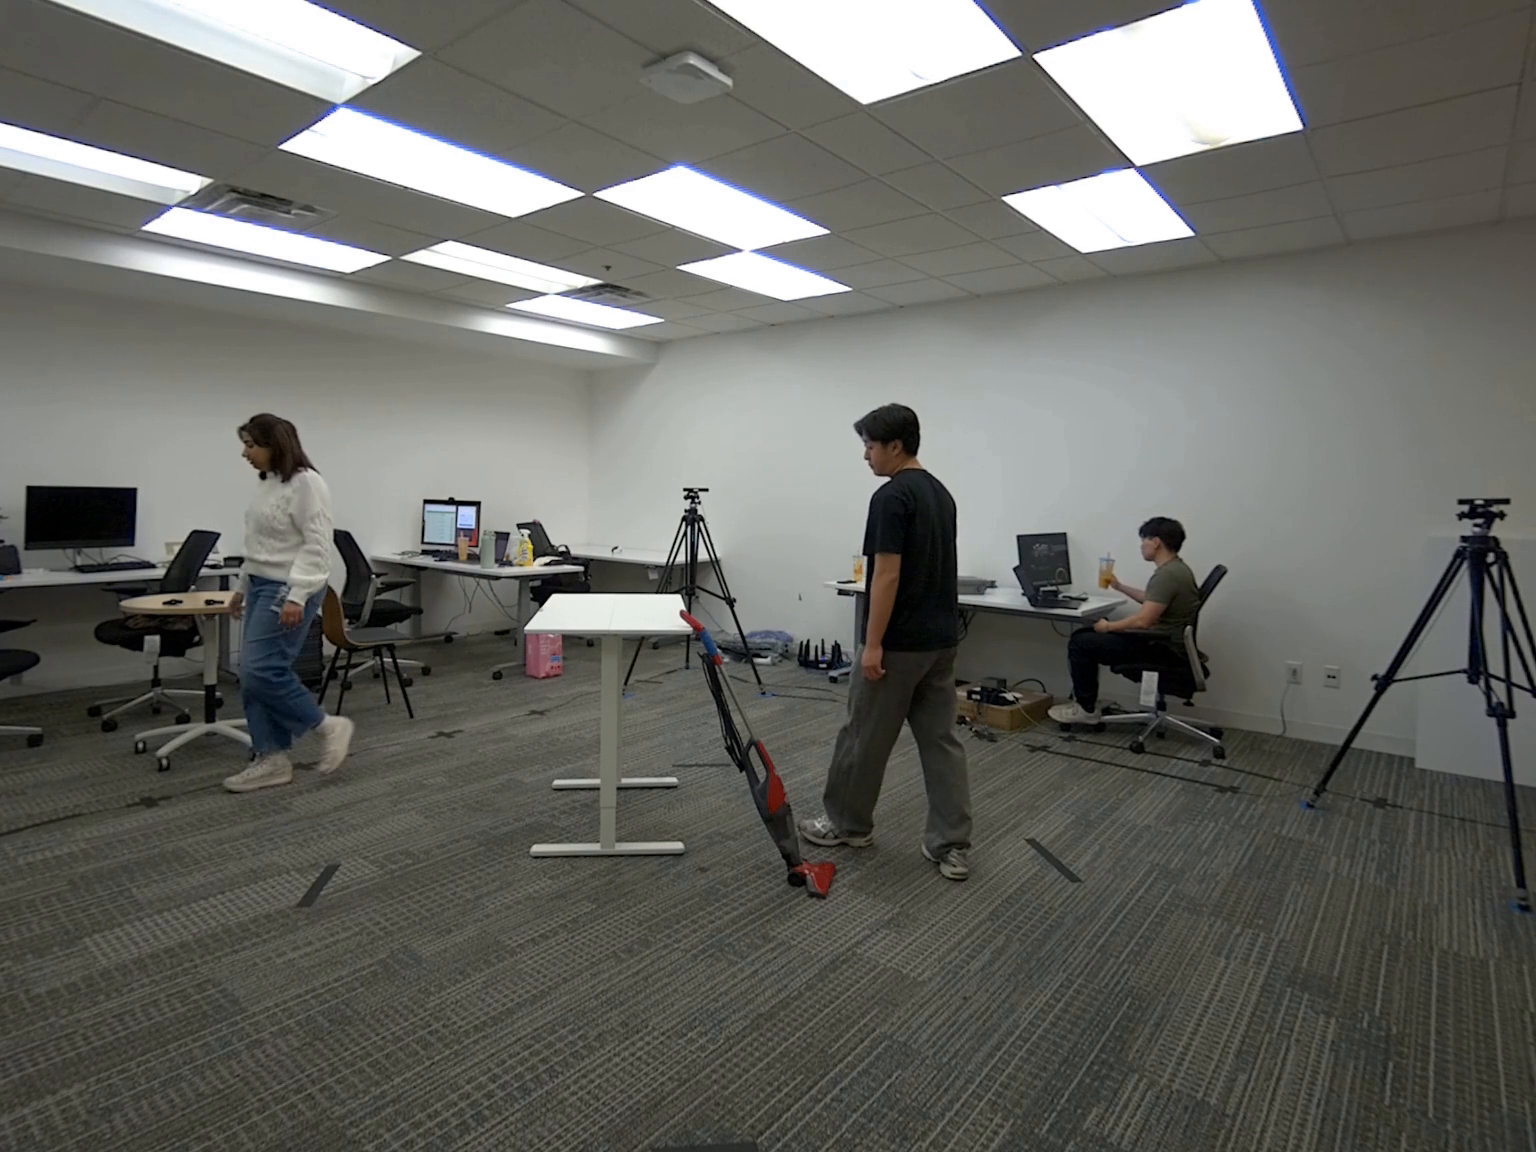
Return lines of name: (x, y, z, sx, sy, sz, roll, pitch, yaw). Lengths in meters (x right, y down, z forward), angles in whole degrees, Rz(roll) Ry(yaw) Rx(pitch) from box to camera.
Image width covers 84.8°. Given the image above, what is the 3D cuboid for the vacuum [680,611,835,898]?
vacuum: (-0.091, 0.614, 3.081, 0.145, 1.057, 0.249, -30, -5, 16)
